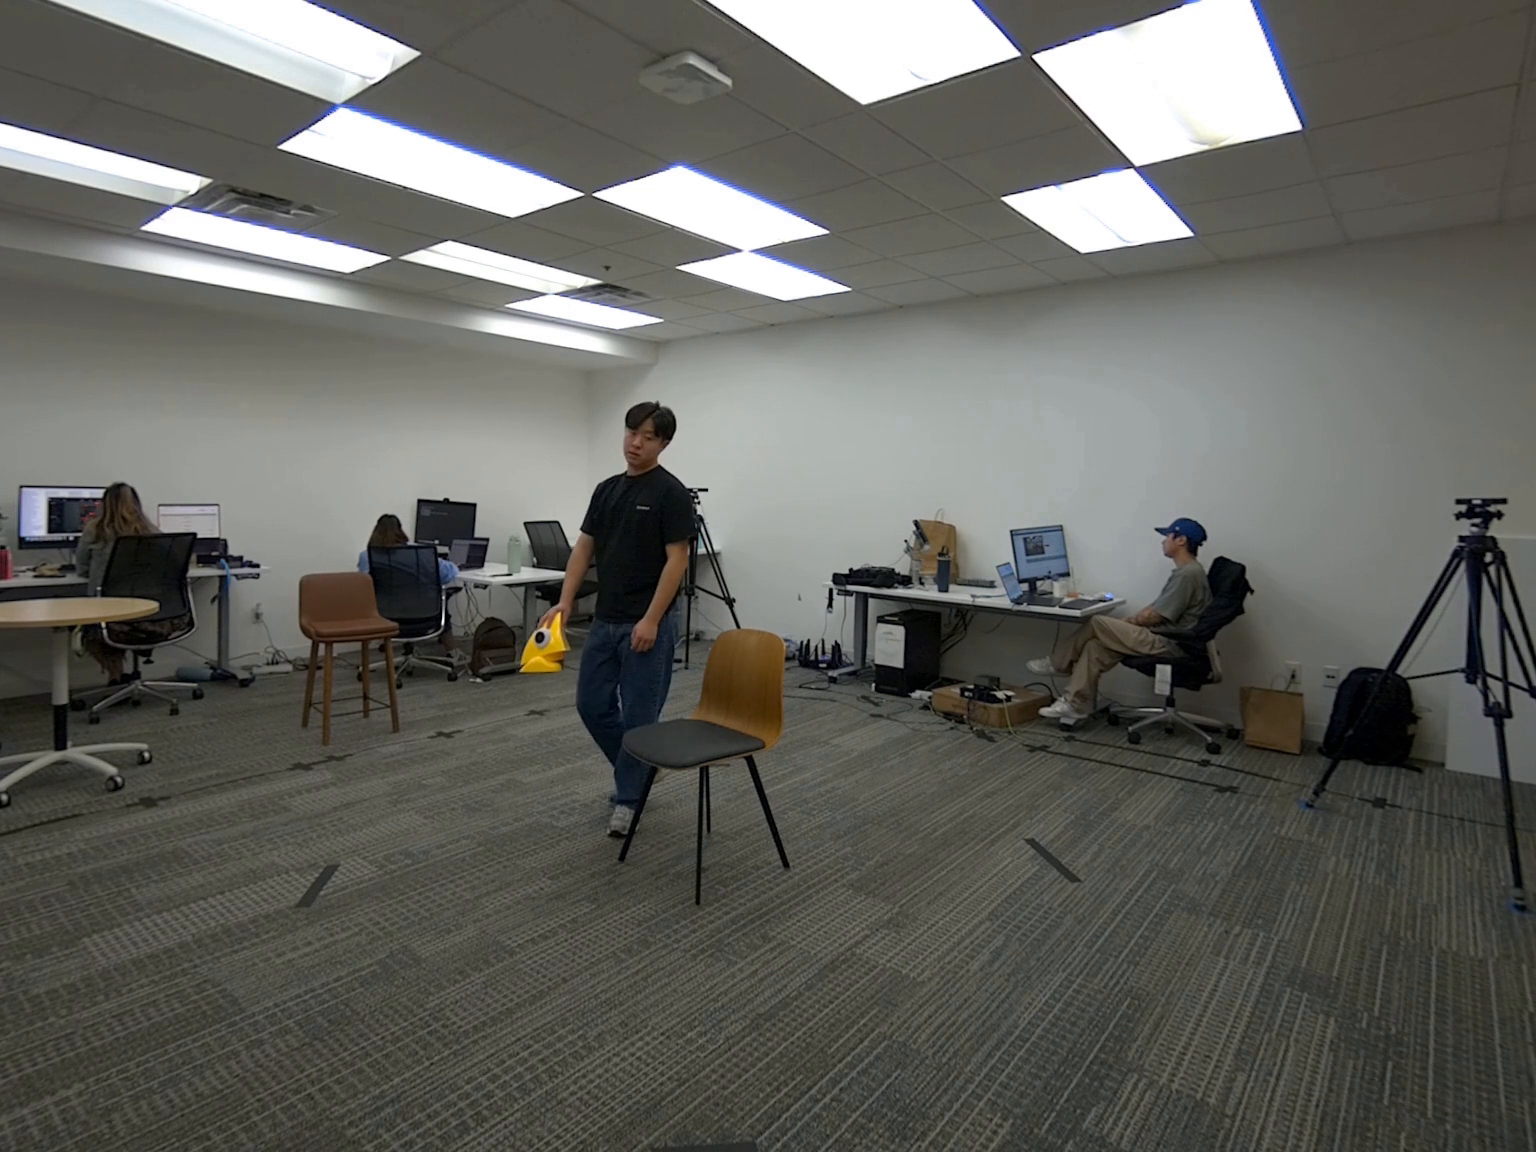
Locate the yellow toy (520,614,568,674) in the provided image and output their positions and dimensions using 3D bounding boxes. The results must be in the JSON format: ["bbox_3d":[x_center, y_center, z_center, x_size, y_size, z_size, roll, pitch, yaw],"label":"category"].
[{"bbox_3d":[-0.895,0.253,3.371,0.192,0.232,0.205,-1,-5,-5],"label":"yellow toy"}]
